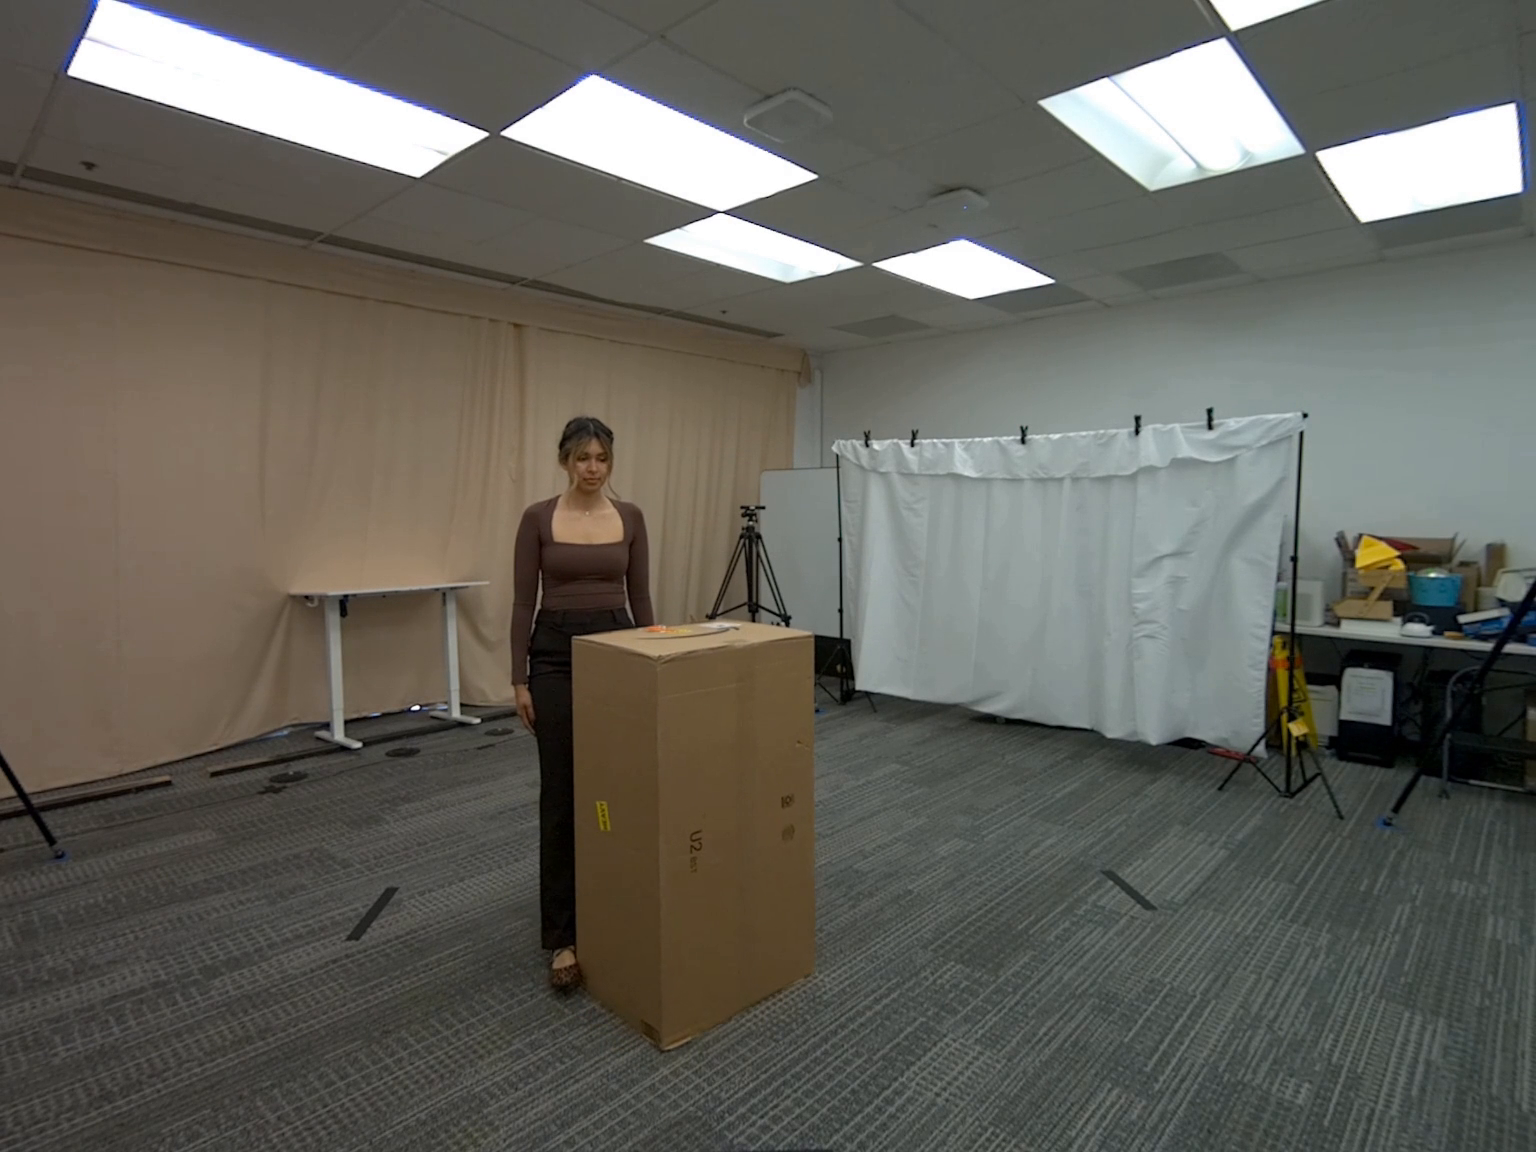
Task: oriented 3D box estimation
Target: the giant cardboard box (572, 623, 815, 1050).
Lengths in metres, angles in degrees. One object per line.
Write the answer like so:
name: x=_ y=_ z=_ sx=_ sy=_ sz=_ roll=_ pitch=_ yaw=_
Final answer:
giant cardboard box: x=-0.205 y=0.678 z=2.458 sx=0.566 sy=1.025 sz=0.461 roll=-3 pitch=3 yaw=-41
